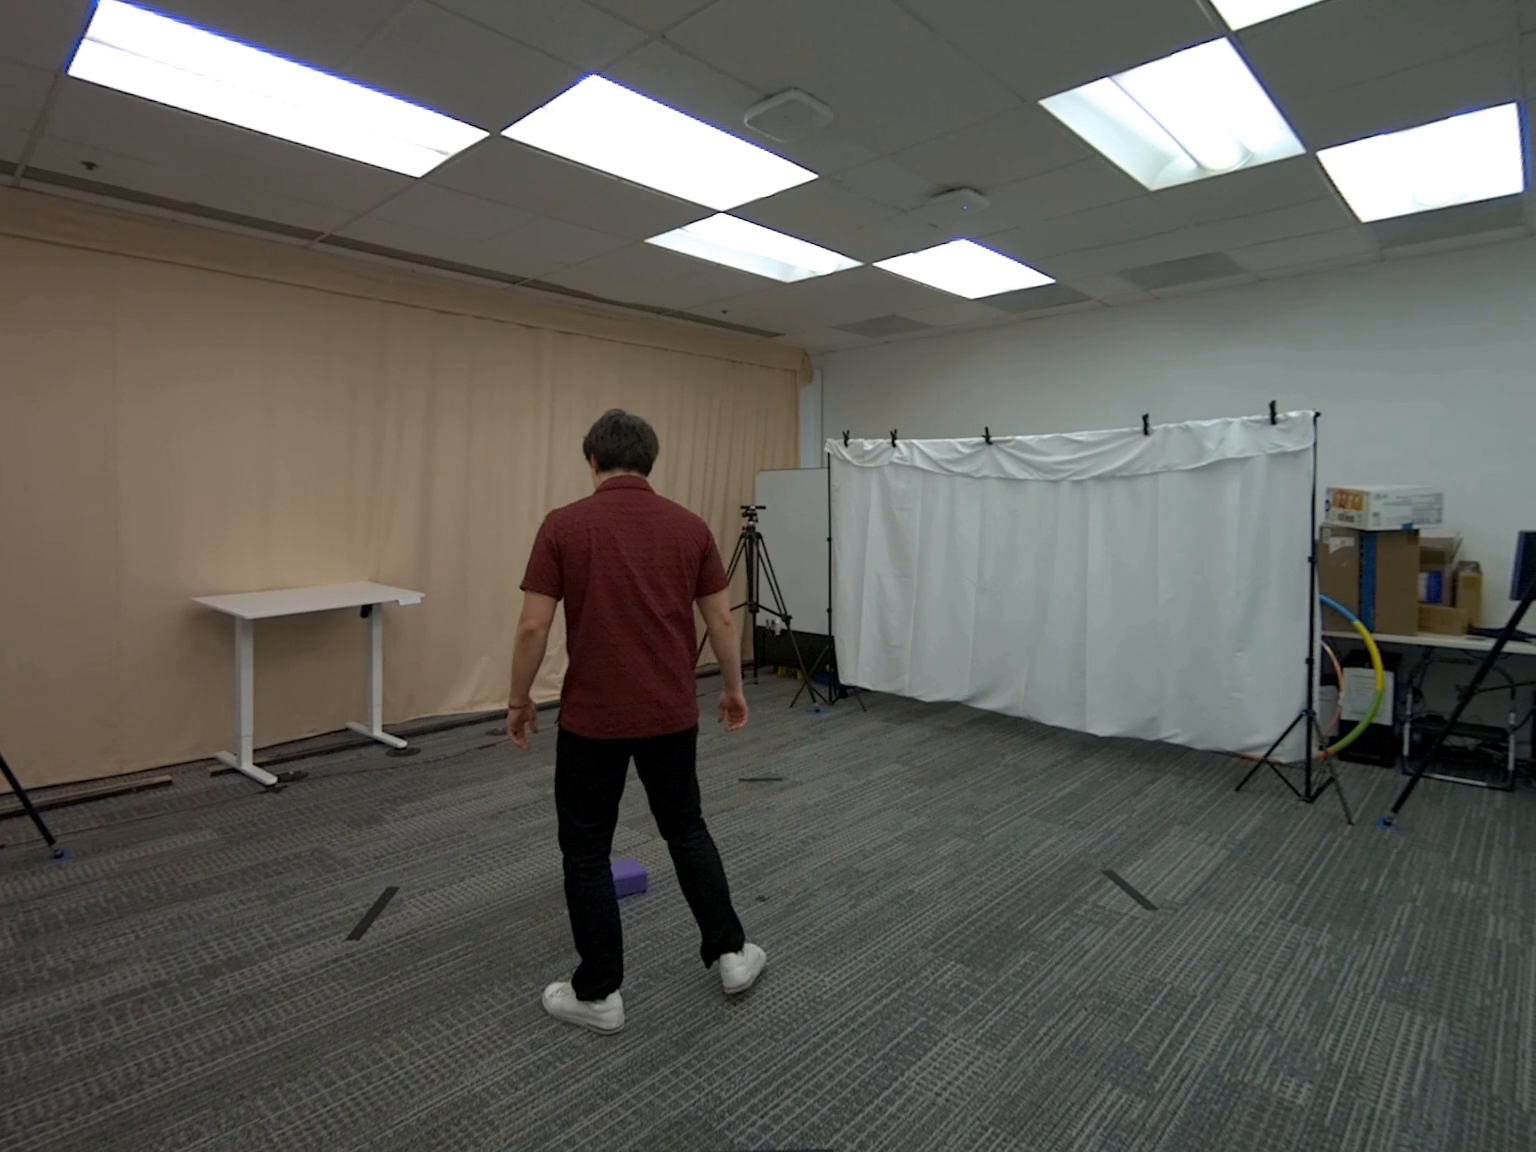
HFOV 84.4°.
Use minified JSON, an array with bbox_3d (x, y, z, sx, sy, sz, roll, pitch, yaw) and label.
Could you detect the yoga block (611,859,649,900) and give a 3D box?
[{"bbox_3d":[-0.569,1.102,3.051,0.224,0.076,0.153,-2,5,-27],"label":"yoga block"}]
